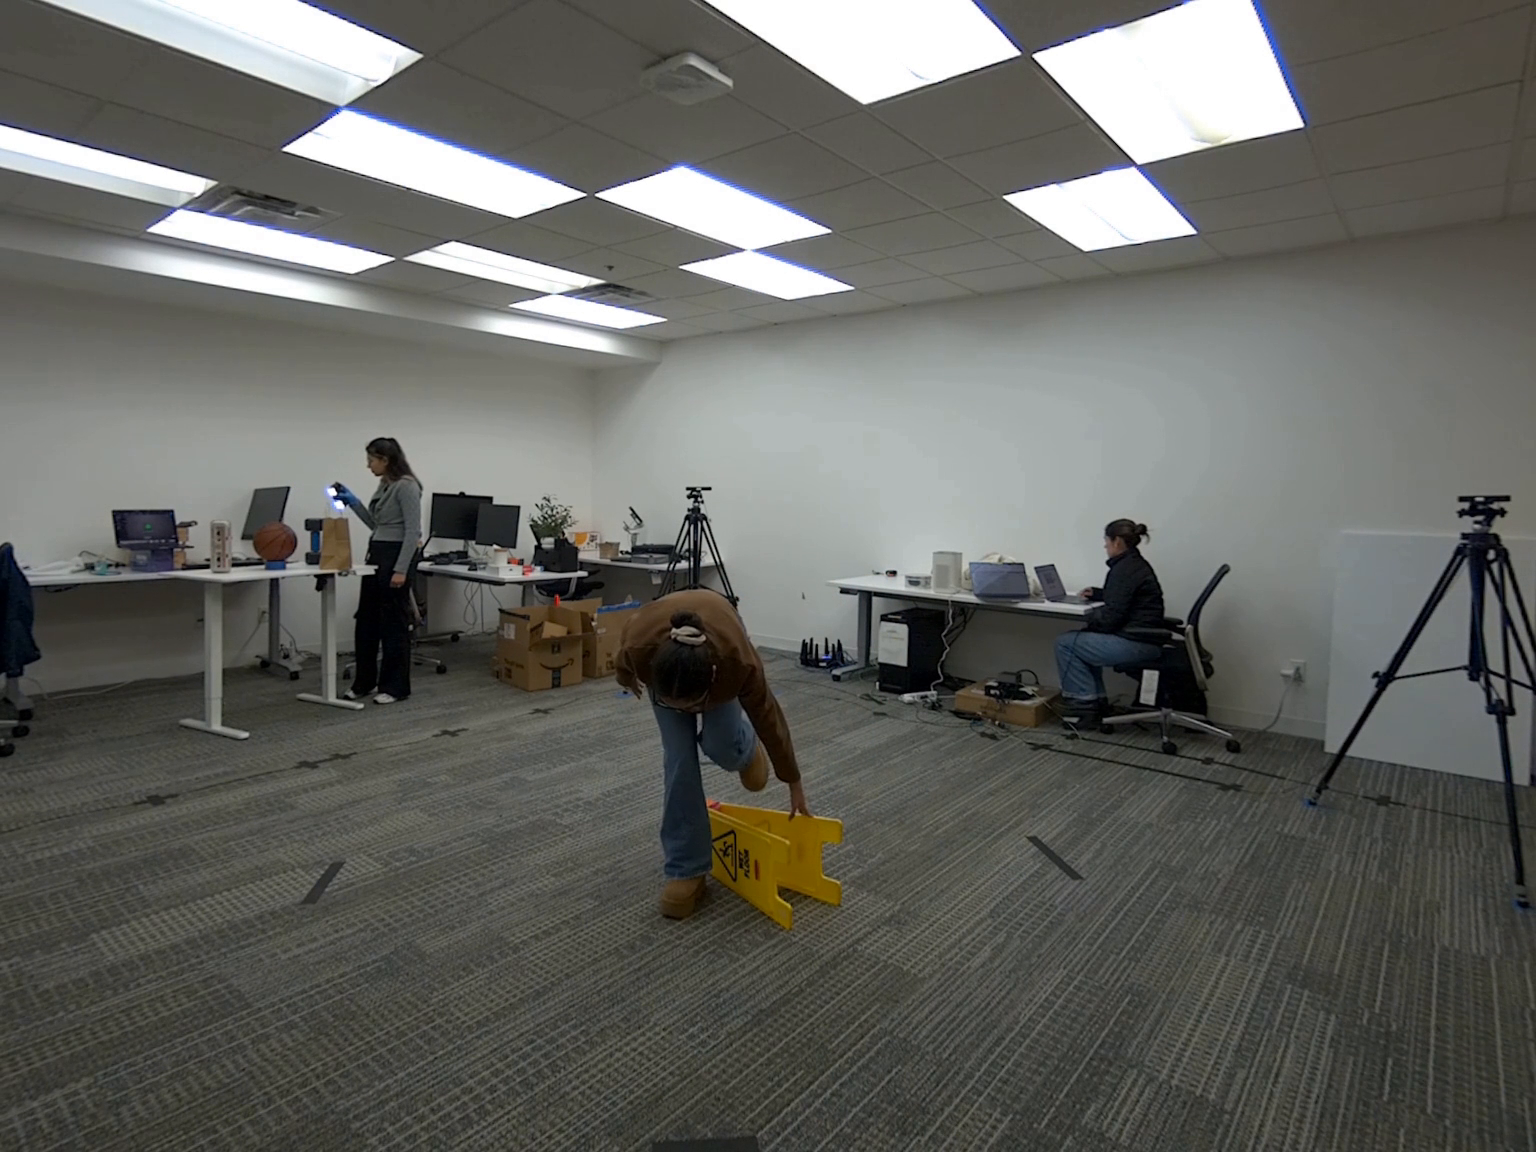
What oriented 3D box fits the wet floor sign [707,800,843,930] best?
[{"bbox_3d":[-0.091,0.954,2.989,0.667,0.282,0.281,2,3,44],"label":"wet floor sign"}]
